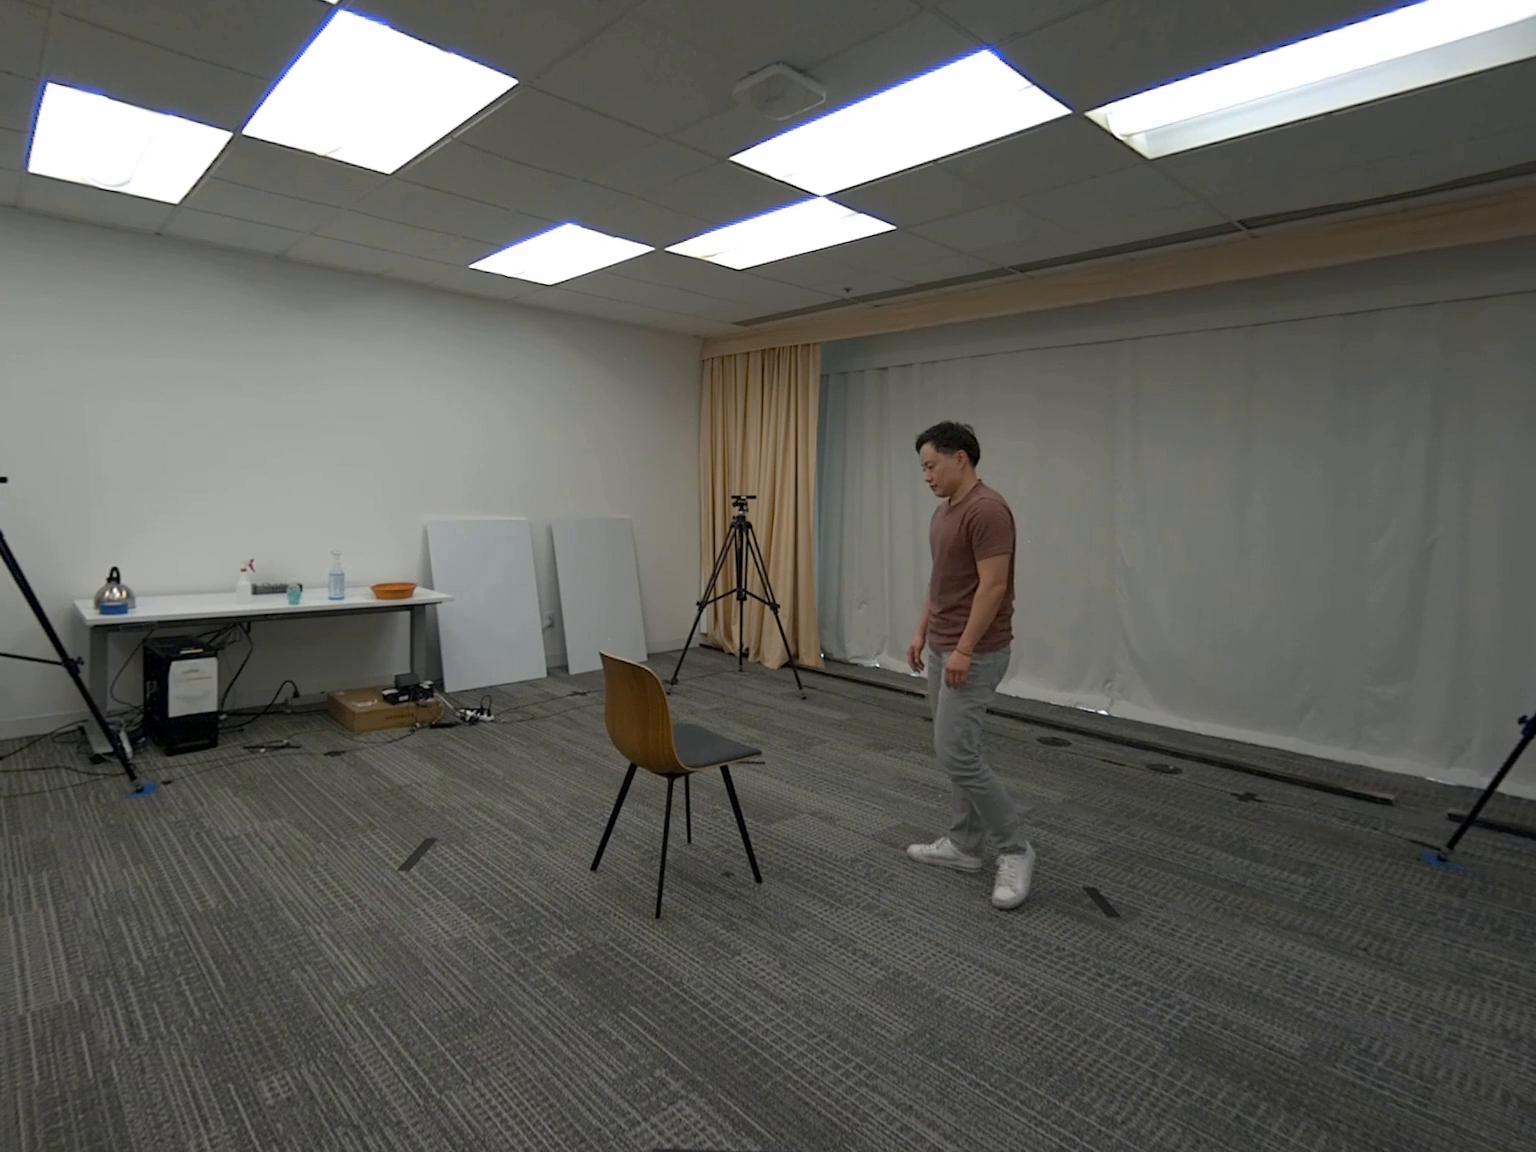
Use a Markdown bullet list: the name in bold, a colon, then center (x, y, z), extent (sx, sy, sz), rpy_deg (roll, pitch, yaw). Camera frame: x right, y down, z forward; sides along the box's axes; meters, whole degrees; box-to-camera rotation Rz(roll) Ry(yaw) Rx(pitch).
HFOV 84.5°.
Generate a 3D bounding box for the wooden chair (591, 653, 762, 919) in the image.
- **wooden chair**: center (-0.318, 0.670, 3.050), extent (0.512, 0.873, 0.490), rpy_deg (-7, 8, -40)
